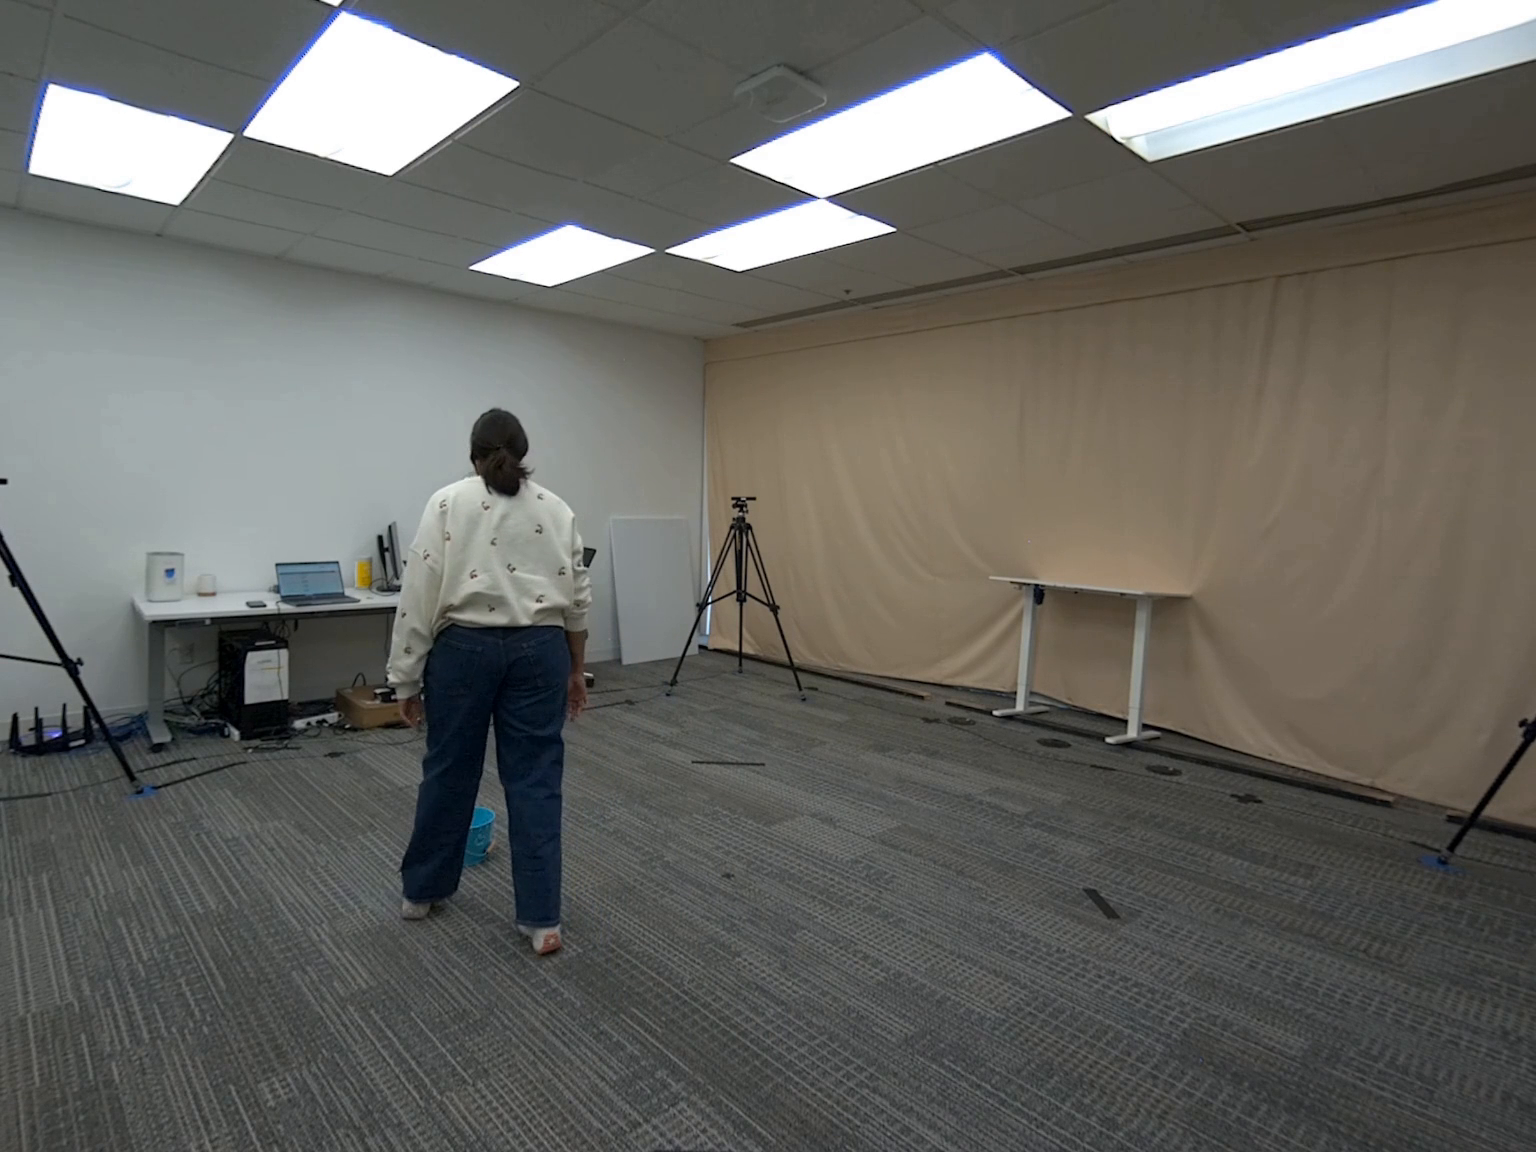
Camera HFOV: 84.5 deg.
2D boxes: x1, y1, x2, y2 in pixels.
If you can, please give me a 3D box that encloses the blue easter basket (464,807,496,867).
[{"bbox_3d":[-1.166,1.000,3.224,0.243,0.155,0.244,2,5,-1],"label":"blue easter basket"}]
